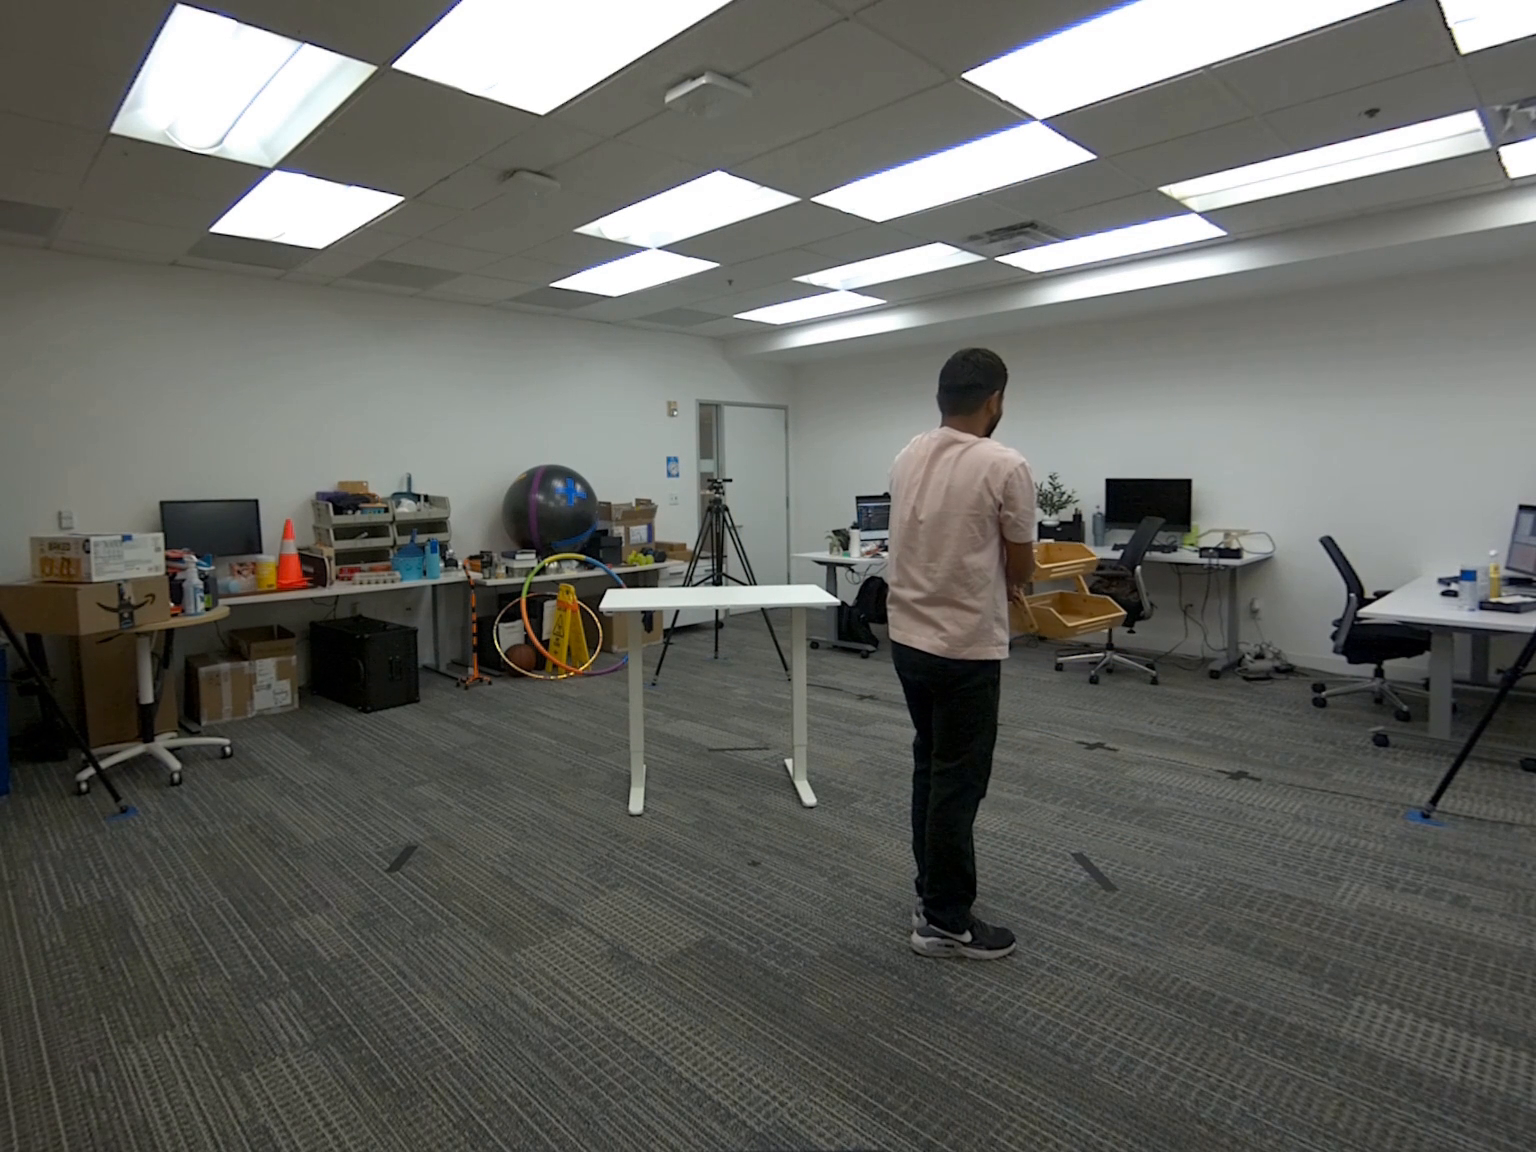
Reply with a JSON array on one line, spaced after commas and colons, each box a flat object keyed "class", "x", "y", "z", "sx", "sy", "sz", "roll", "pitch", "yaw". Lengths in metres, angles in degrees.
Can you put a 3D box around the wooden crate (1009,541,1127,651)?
[{"class": "wooden crate", "x": 0.947, "y": 0.036, "z": 2.772, "sx": 0.317, "sy": 0.272, "sz": 0.310, "roll": -6, "pitch": 6, "yaw": -33}]
